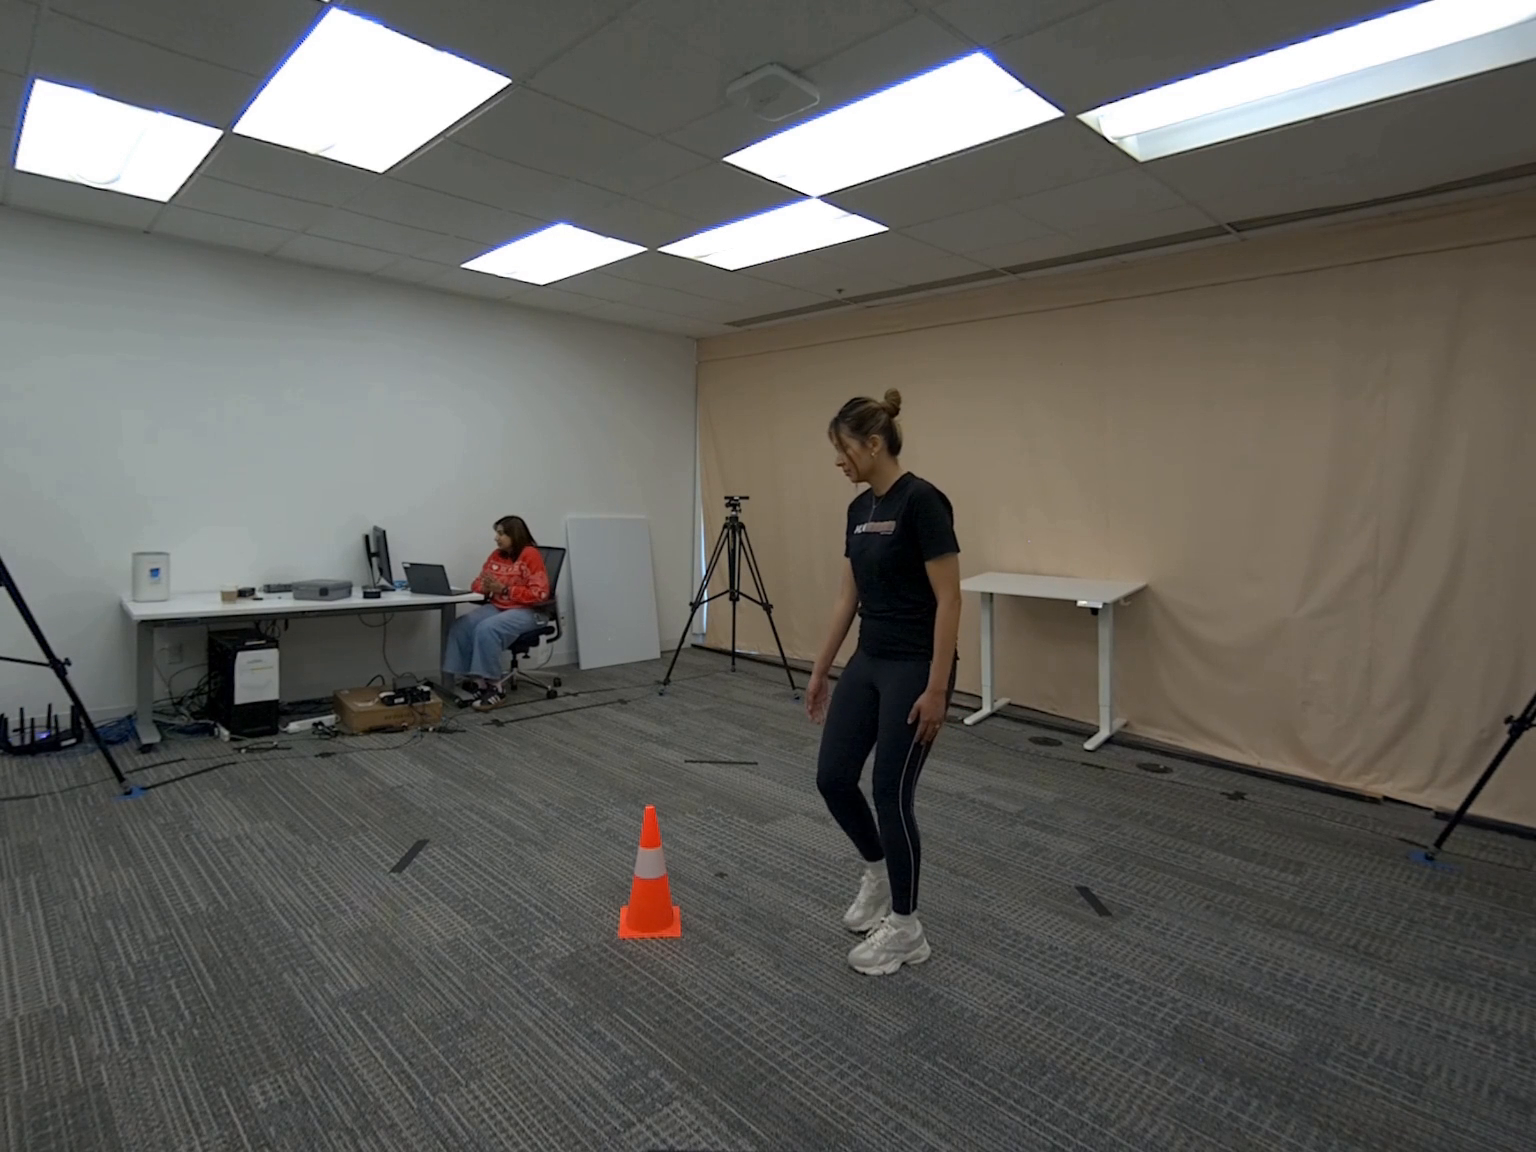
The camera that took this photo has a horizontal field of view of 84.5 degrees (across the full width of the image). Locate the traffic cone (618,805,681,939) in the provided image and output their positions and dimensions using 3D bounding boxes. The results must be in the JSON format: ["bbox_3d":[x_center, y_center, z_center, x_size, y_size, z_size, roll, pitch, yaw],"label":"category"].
[{"bbox_3d":[-0.383,0.944,2.736,0.203,0.383,0.205,2,4,-10],"label":"traffic cone"}]
